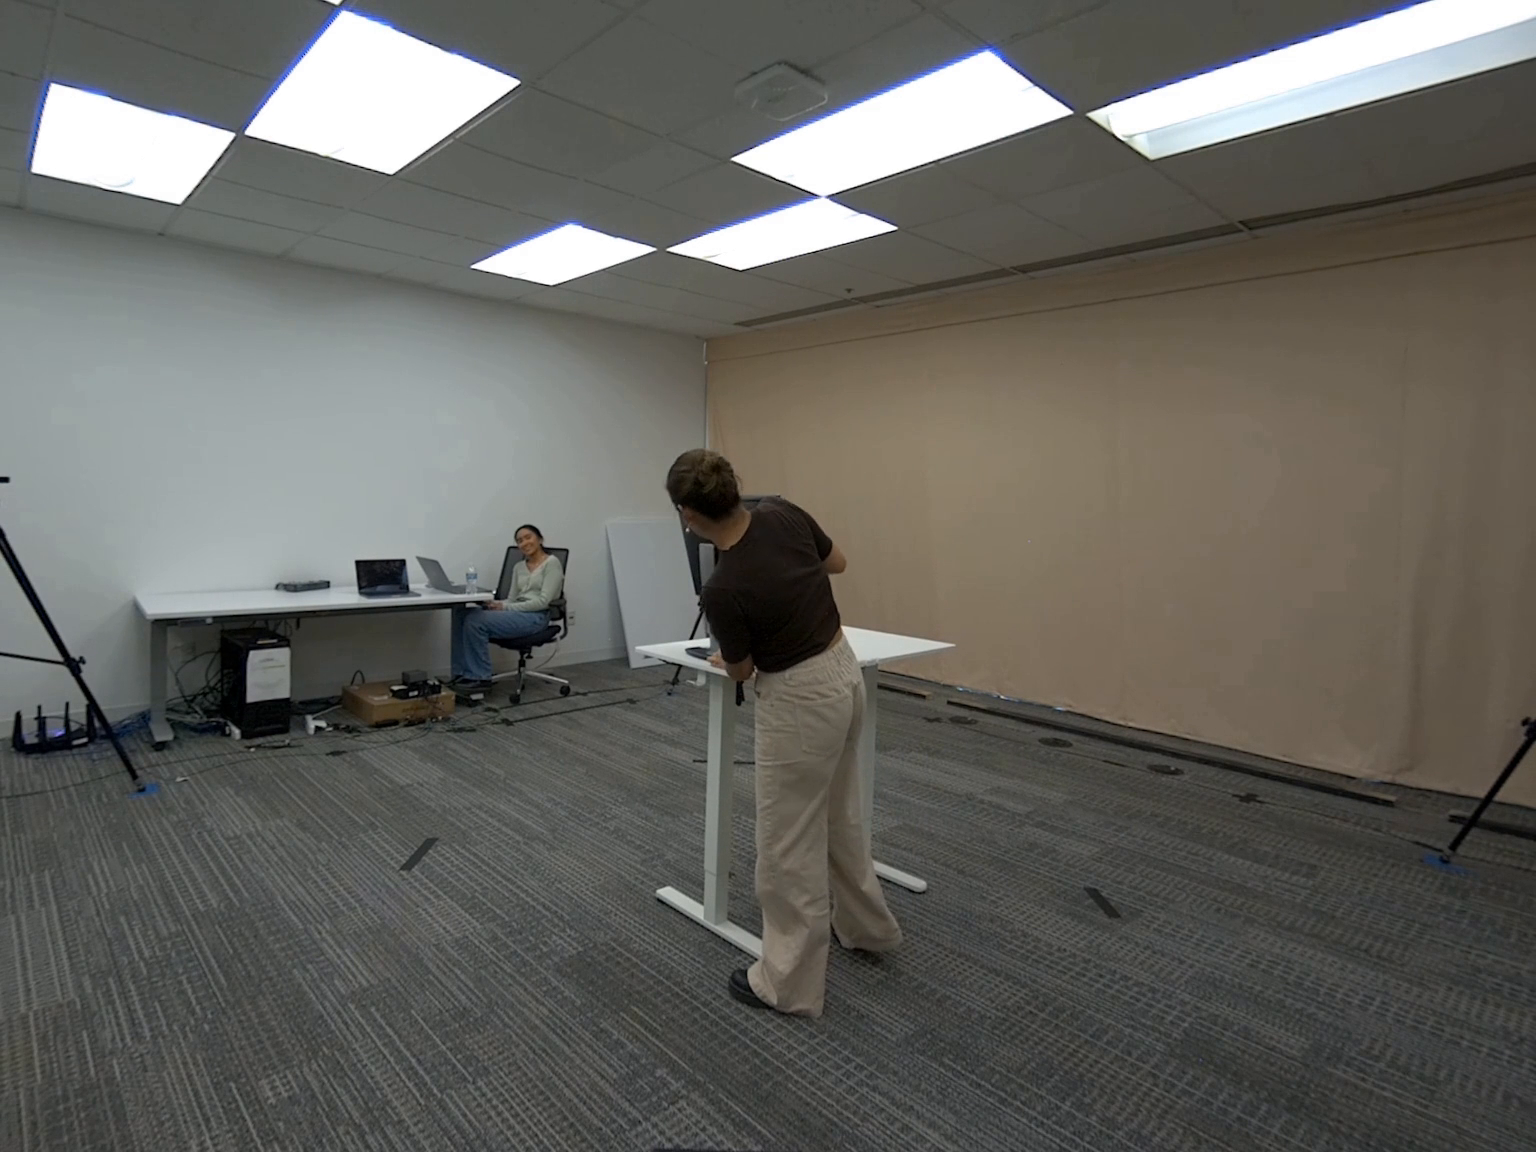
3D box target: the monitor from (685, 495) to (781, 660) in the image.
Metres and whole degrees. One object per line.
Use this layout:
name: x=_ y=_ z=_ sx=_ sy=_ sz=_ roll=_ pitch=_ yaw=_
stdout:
monitor: x=-0.128 y=0.012 z=2.635 sx=0.183 sy=0.521 sz=0.553 roll=-3 pitch=6 yaw=-41
